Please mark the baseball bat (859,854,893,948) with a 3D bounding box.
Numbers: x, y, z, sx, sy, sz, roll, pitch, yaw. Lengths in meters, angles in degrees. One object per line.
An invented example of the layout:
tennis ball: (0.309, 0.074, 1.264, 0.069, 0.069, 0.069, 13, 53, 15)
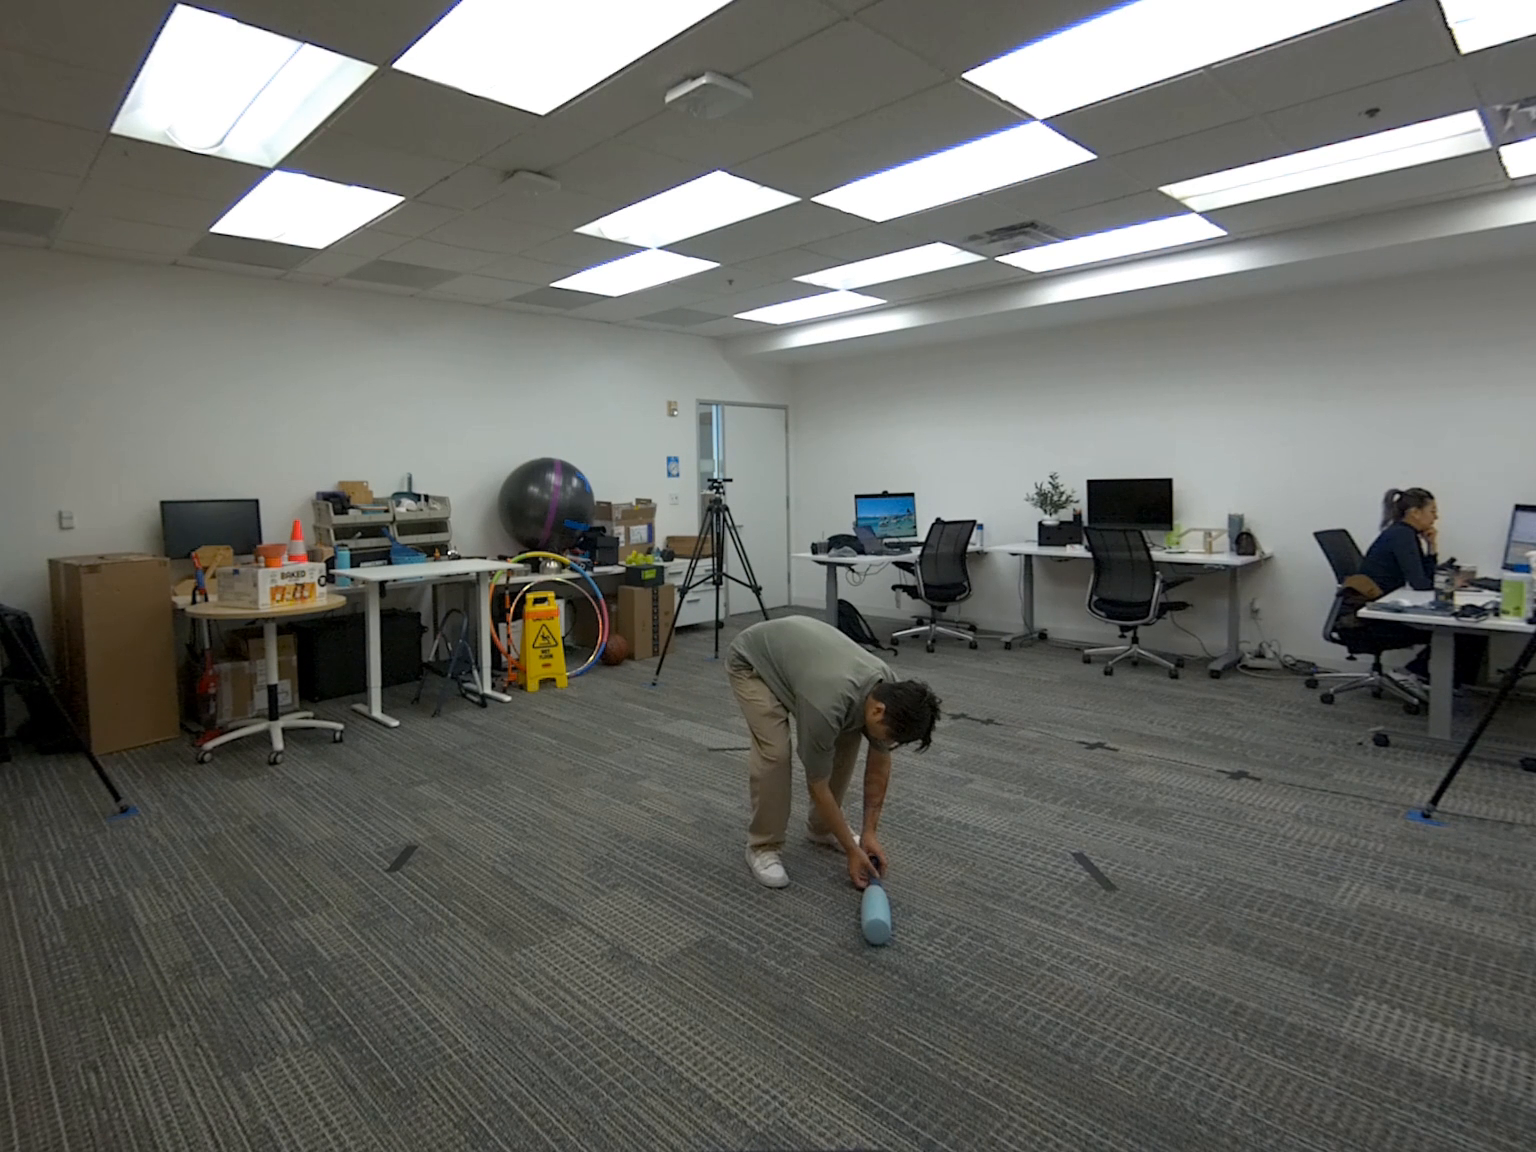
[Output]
baseball bat: (0.358, 1.041, 2.788, 0.090, 0.089, 0.538, 0, 3, 9)
